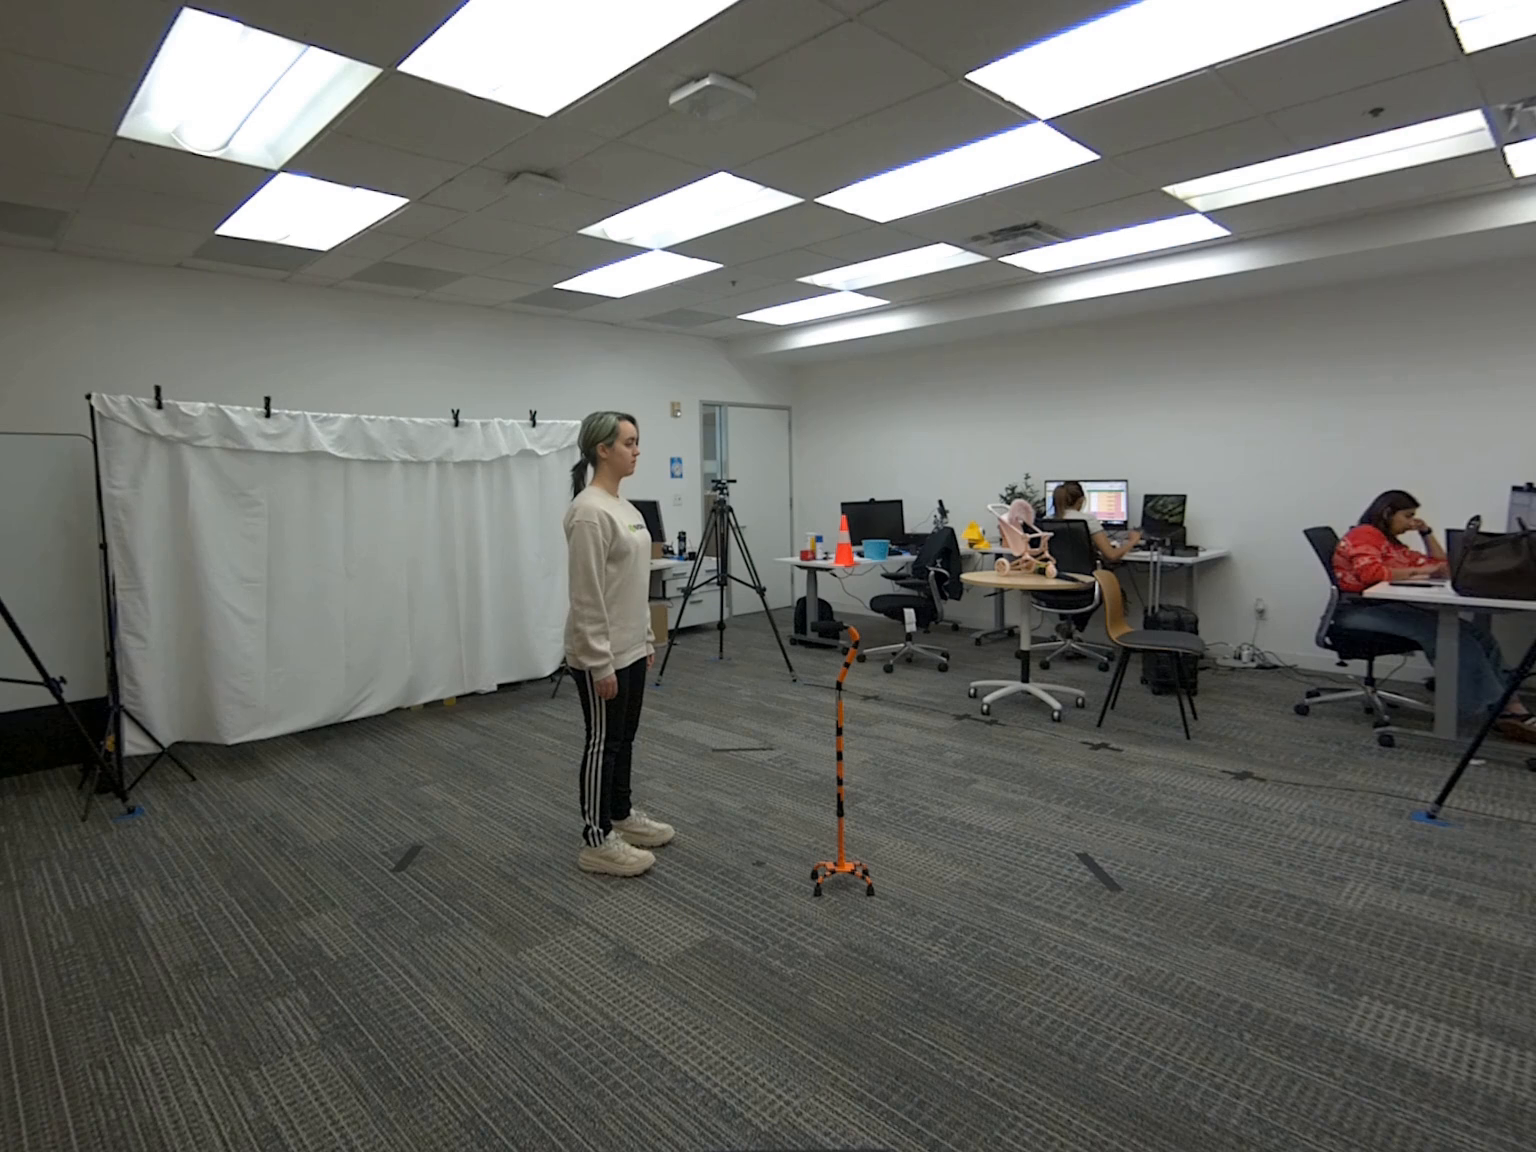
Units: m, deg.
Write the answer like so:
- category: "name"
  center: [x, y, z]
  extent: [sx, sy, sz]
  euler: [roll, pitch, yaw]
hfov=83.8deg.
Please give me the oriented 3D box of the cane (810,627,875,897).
- category: "cane"
  center: [0.250, 0.604, 2.898]
  extent: [0.206, 0.905, 0.152]
  euler: [-1, 4, 0]
